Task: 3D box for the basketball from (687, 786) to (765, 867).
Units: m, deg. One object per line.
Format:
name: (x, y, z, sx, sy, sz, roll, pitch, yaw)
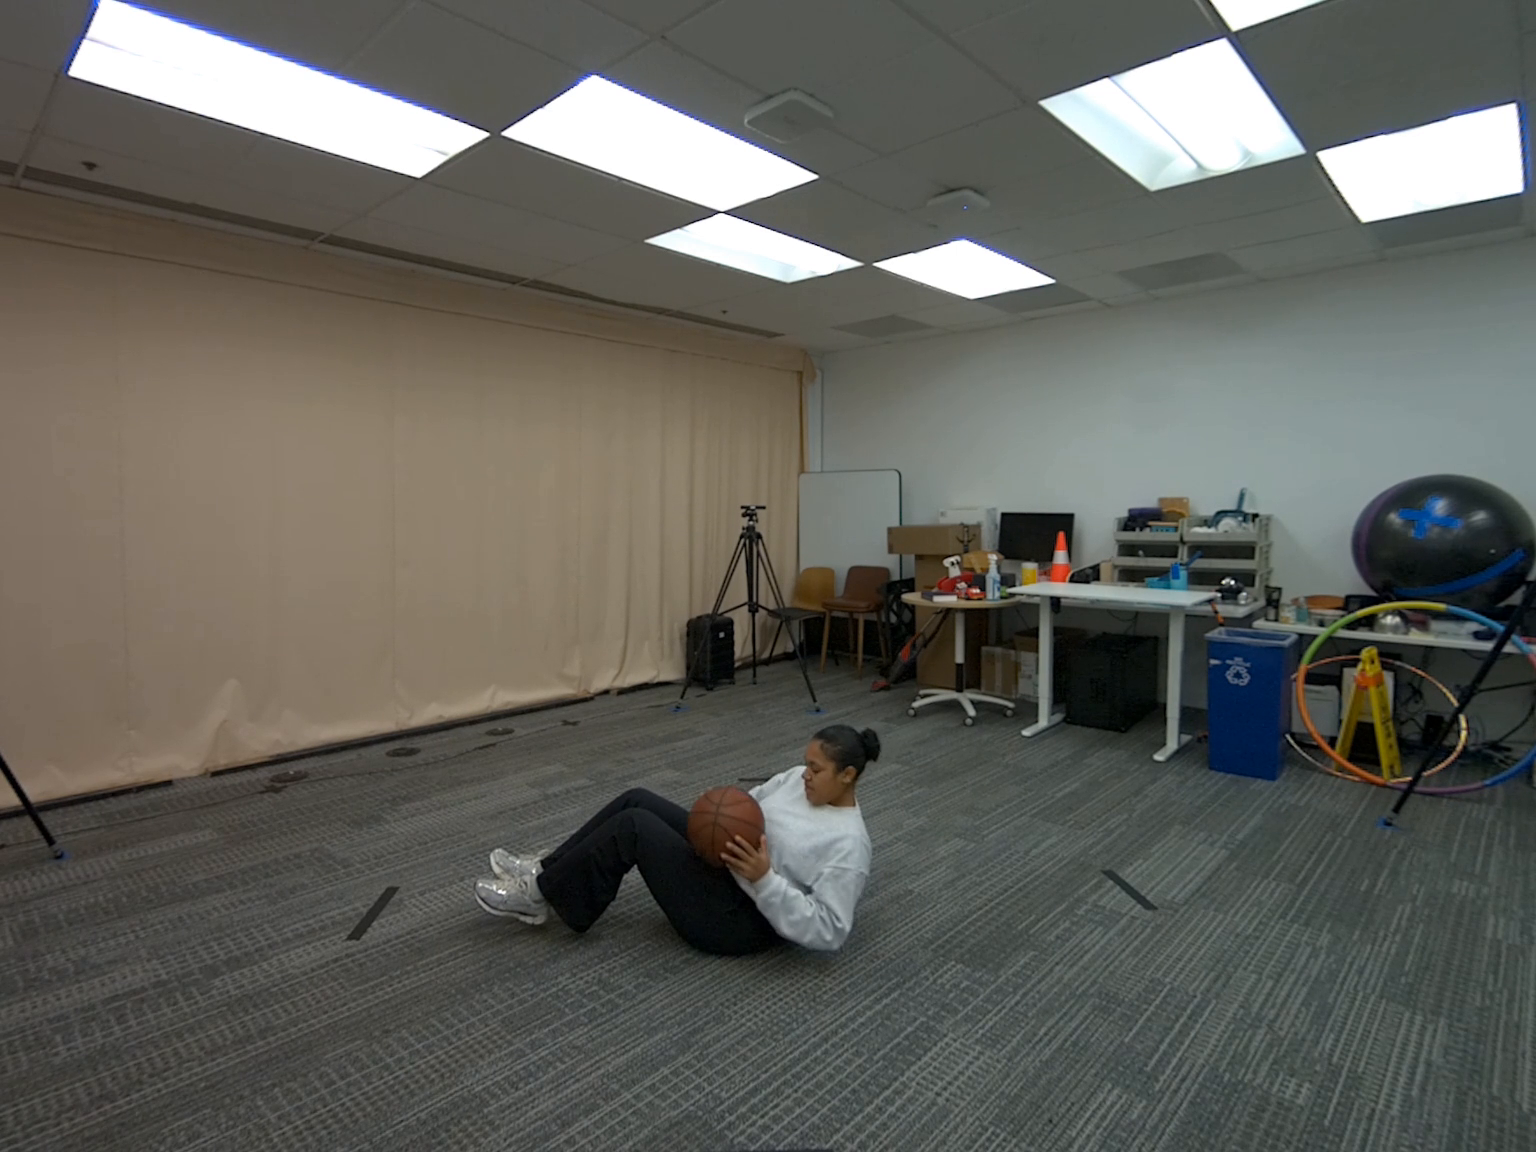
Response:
basketball: (-0.111, 0.783, 2.586, 0.236, 0.235, 0.237, 0, 4, -2)
